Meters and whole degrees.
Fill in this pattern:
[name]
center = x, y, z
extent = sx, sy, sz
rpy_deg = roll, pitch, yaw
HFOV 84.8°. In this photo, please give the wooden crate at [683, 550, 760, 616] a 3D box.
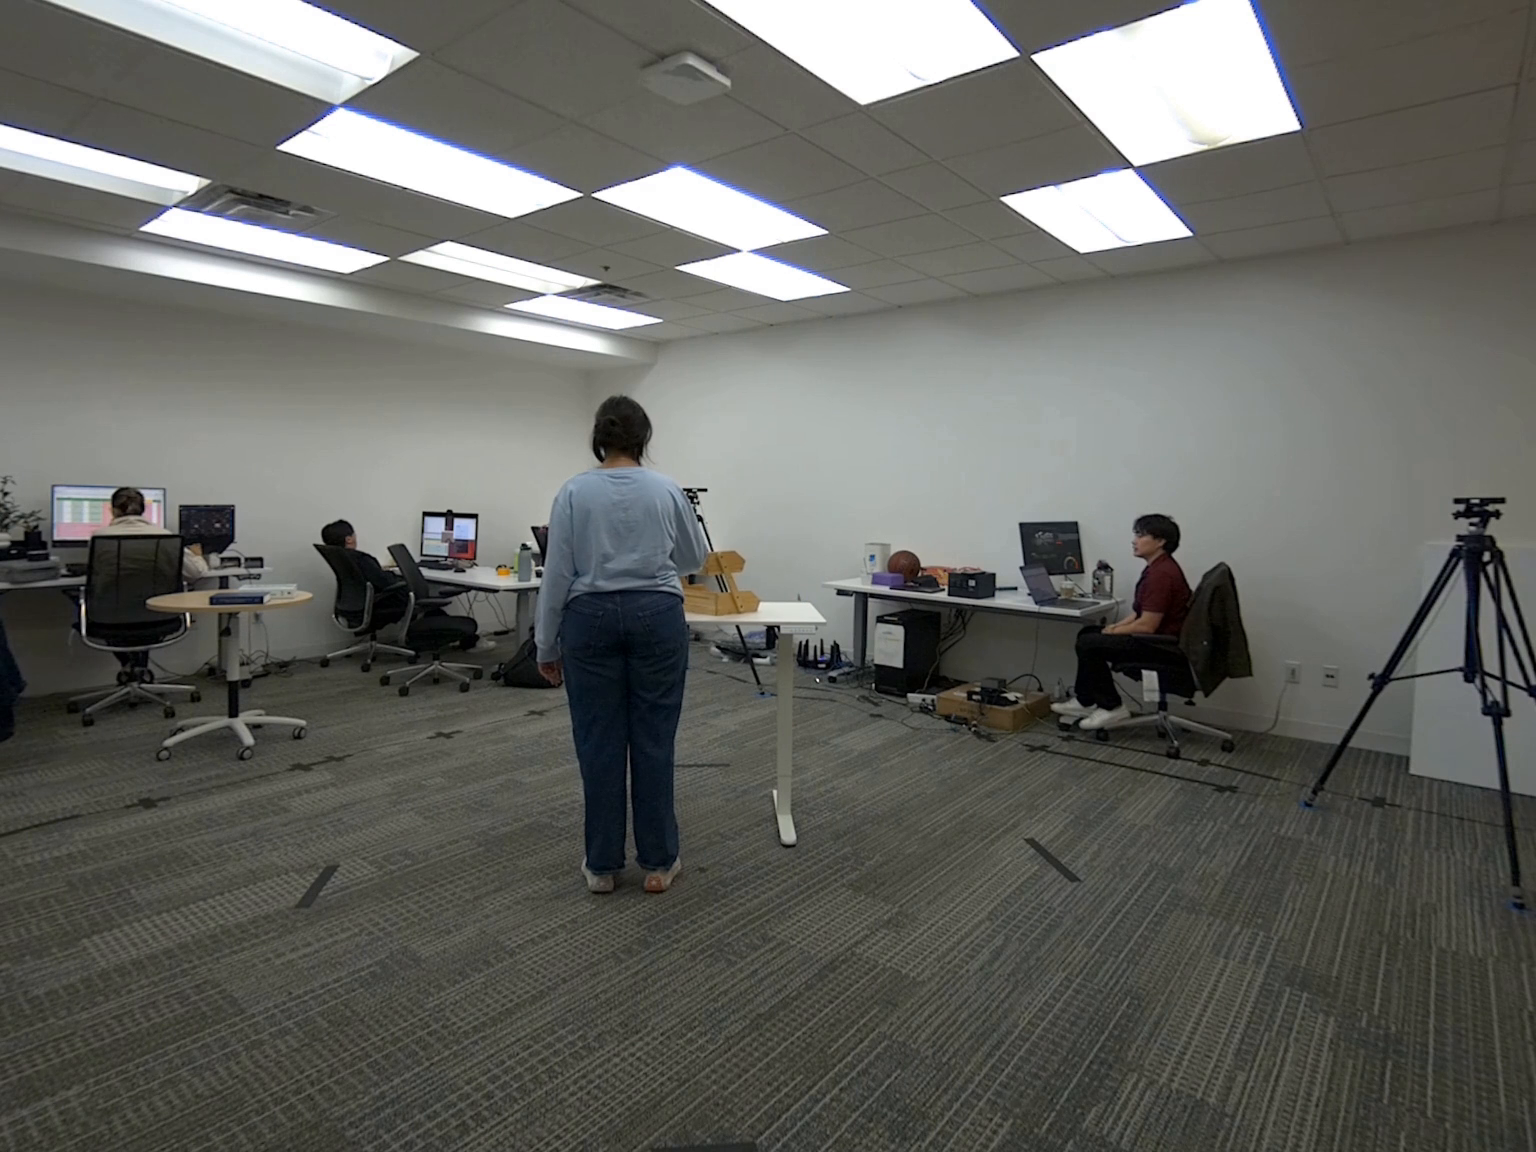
[wooden crate]
center = -0.250, 0.010, 3.579
extent = 0.293, 0.272, 0.335
rpy_deg = -4, 6, -43
